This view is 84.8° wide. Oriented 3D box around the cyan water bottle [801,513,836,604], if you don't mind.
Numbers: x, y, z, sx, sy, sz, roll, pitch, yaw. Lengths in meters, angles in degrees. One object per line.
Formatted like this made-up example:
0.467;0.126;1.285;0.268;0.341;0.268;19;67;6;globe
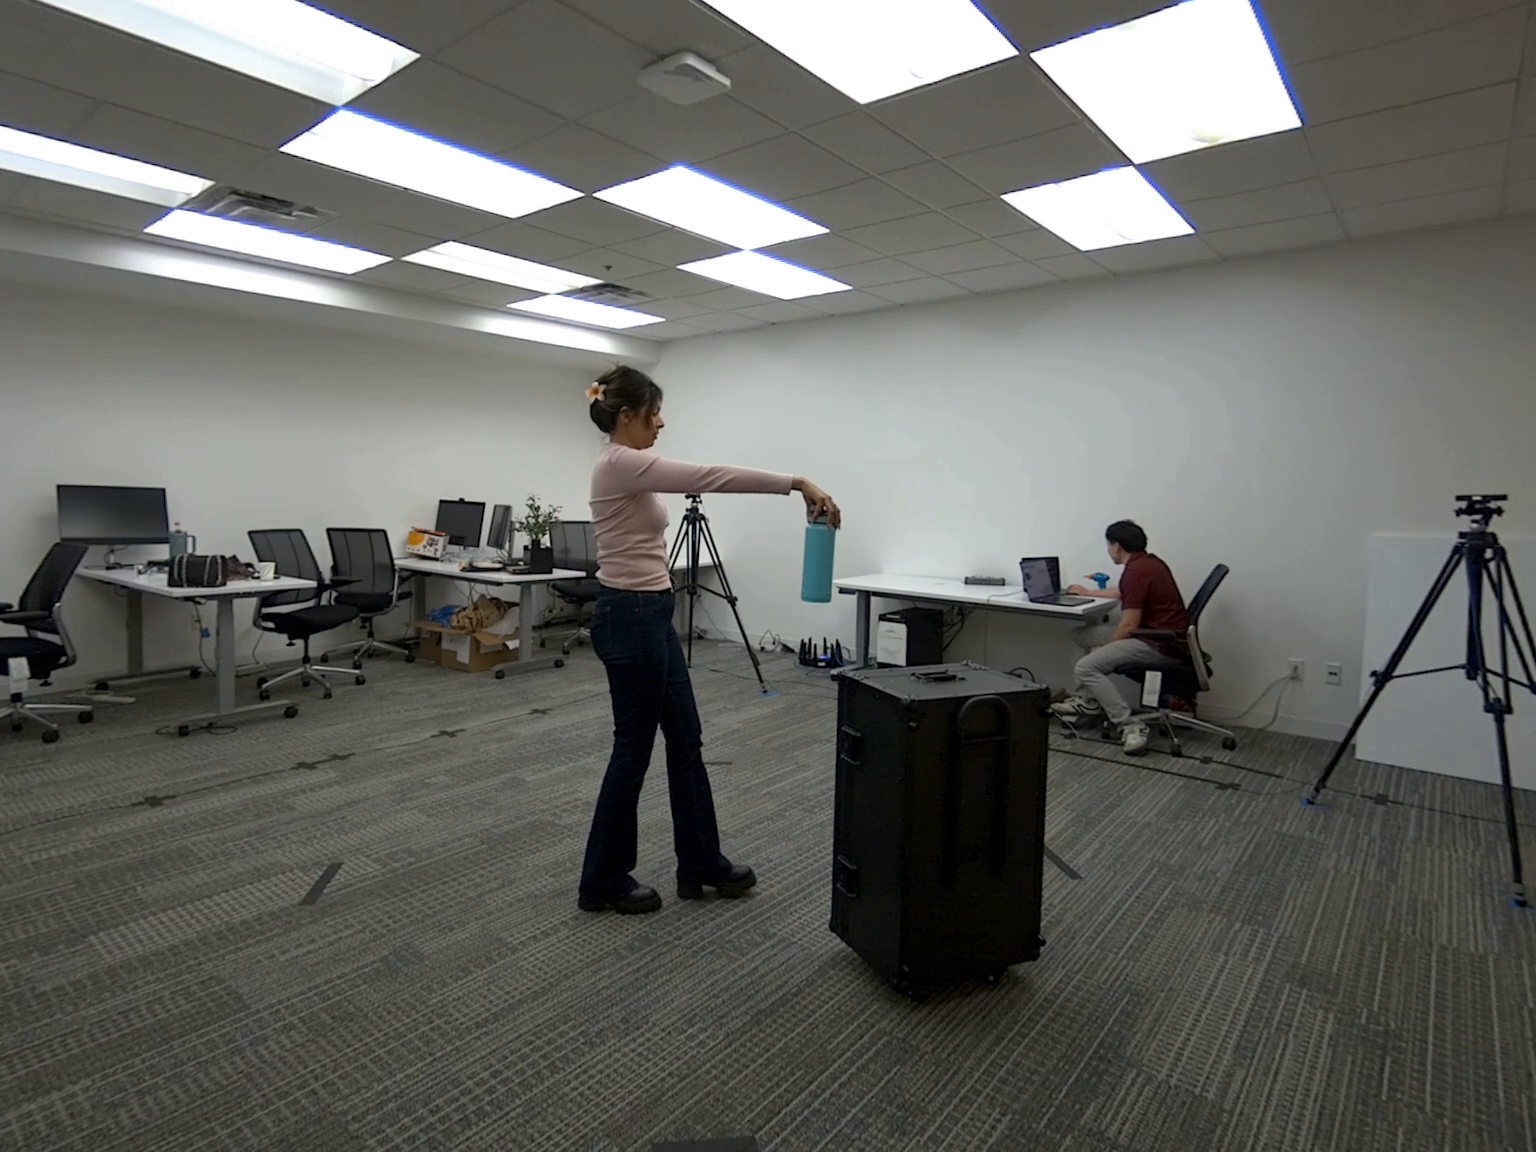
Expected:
0.147;-0.070;2.508;0.092;0.283;0.092;3;0;-2;cyan water bottle
